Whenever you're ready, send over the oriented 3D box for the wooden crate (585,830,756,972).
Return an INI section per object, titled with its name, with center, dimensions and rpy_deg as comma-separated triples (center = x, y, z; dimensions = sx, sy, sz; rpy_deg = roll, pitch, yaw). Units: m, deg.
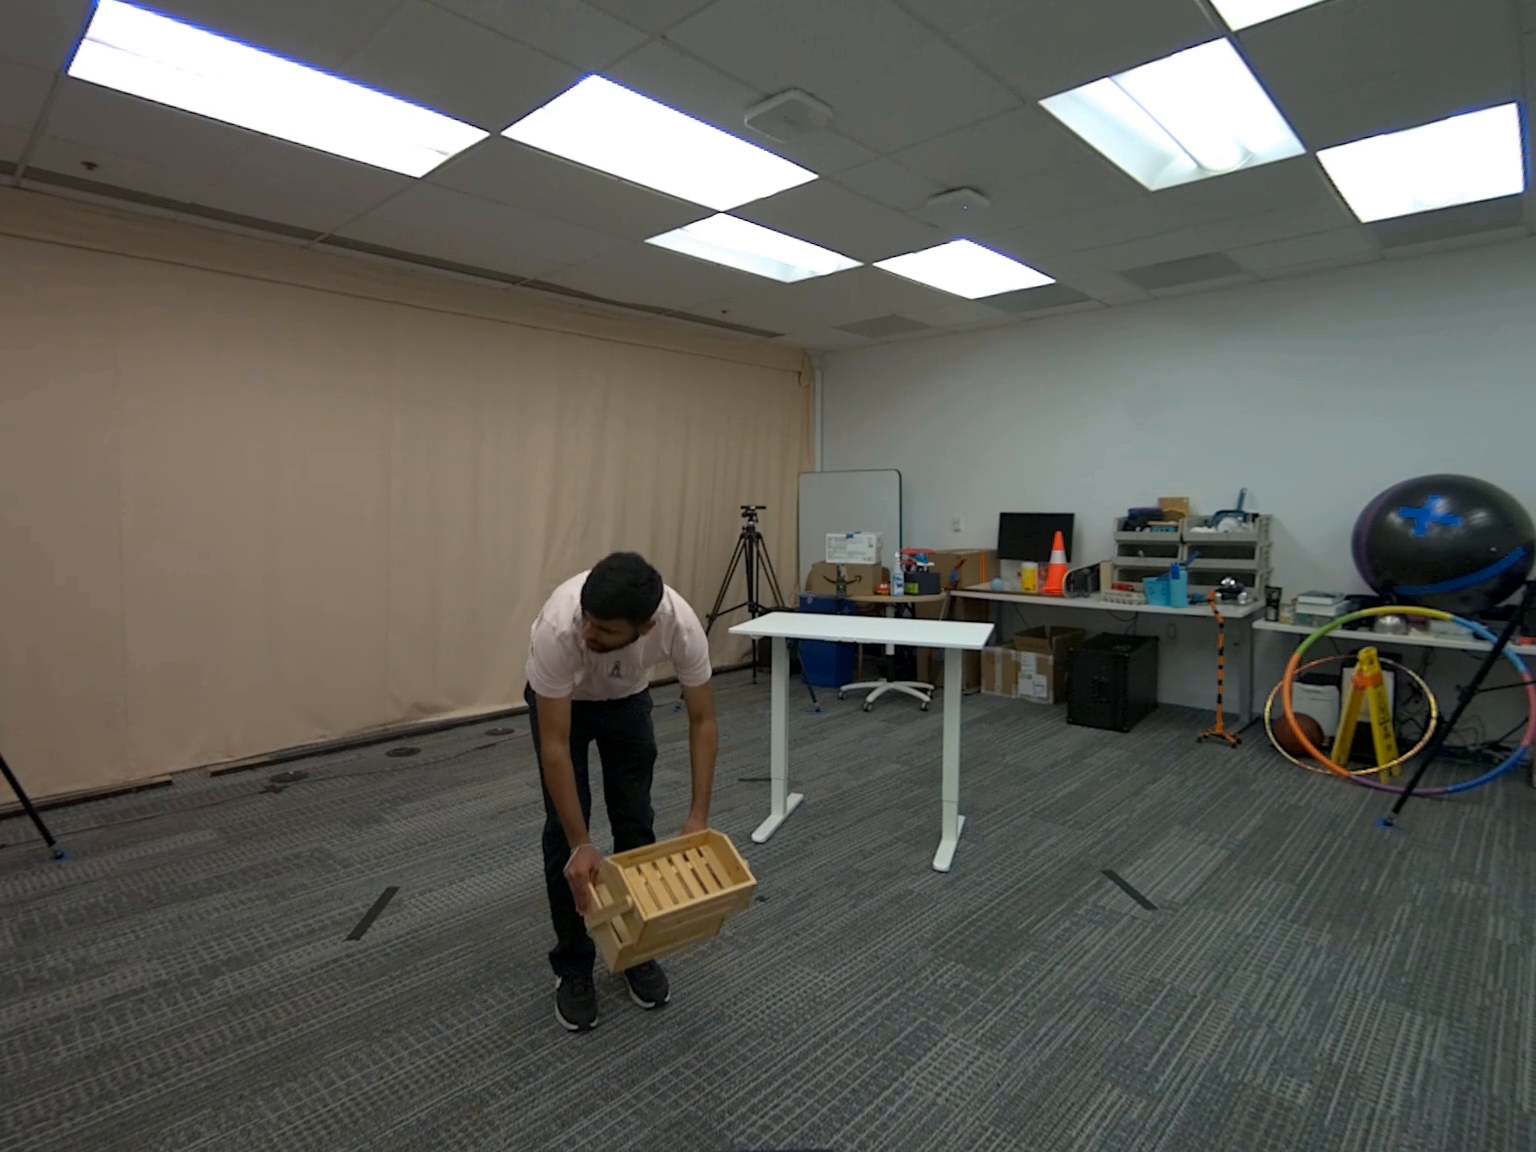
[wooden crate]
center = -0.259, 0.751, 2.045
dimensions = 0.315, 0.271, 0.313
rpy_deg = -4, 32, -36
